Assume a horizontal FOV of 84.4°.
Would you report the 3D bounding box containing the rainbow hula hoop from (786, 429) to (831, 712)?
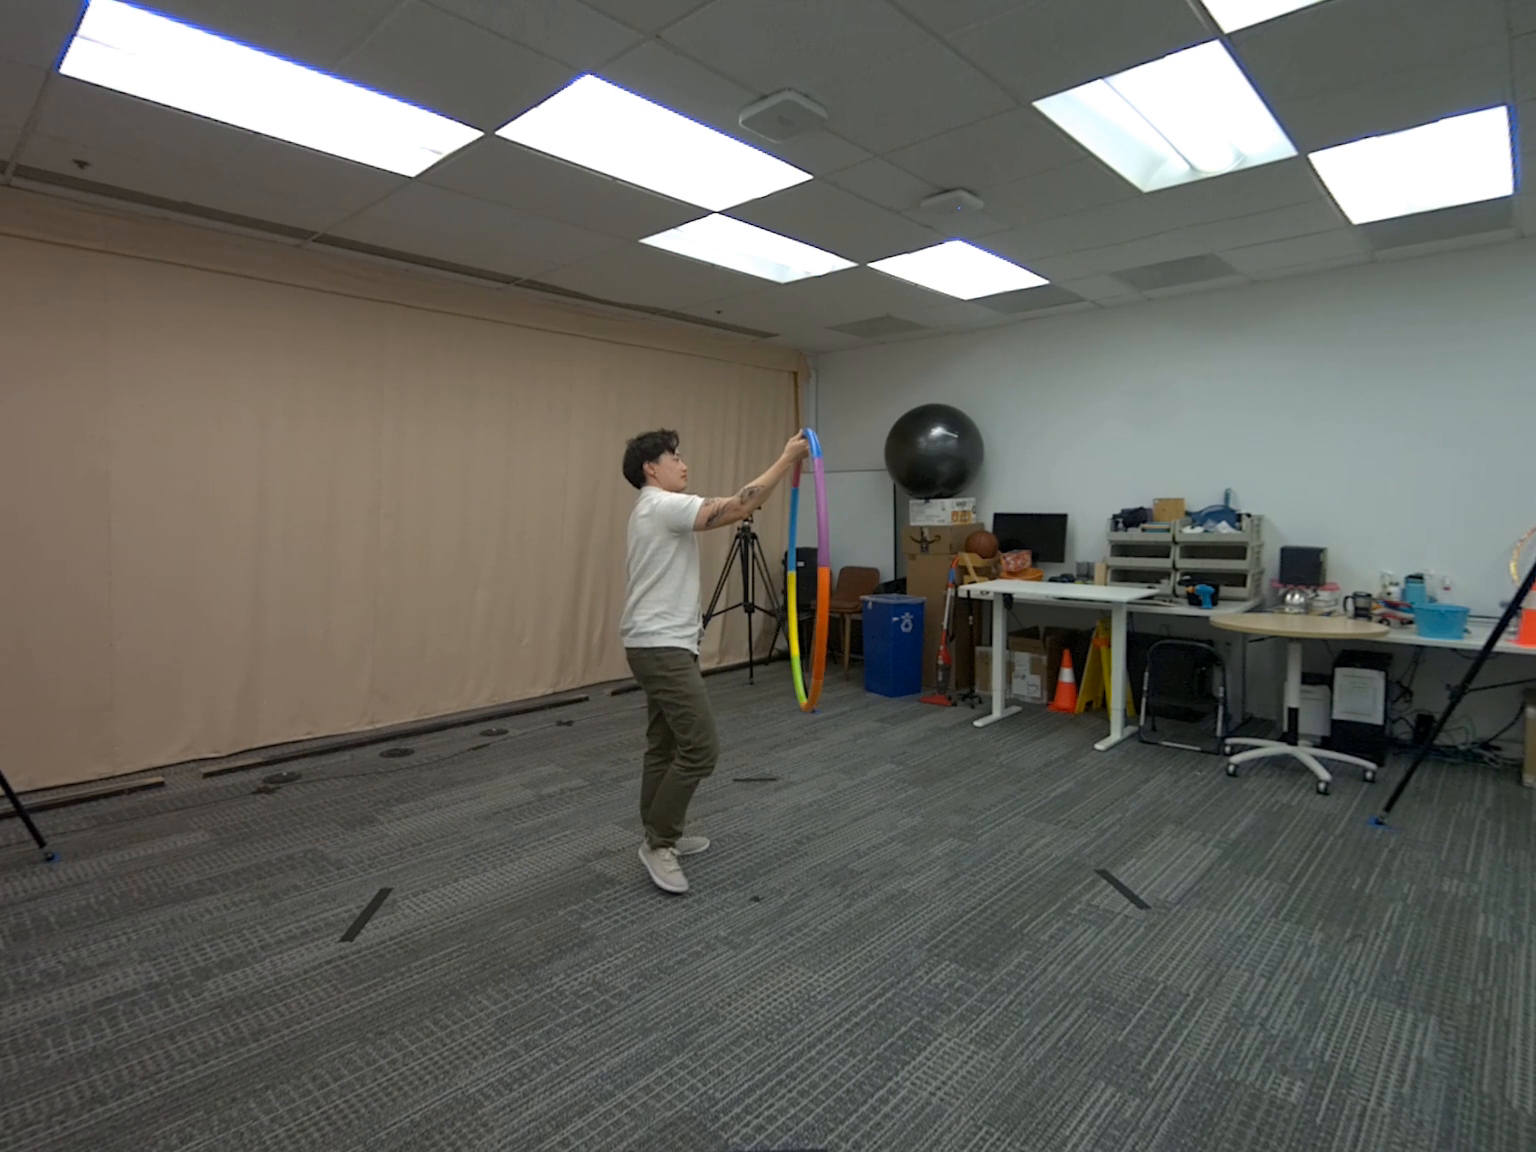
[{"bbox_3d":[0.141,-0.024,2.981,0.035,0.976,0.983,1,4,-4],"label":"rainbow hula hoop"}]
